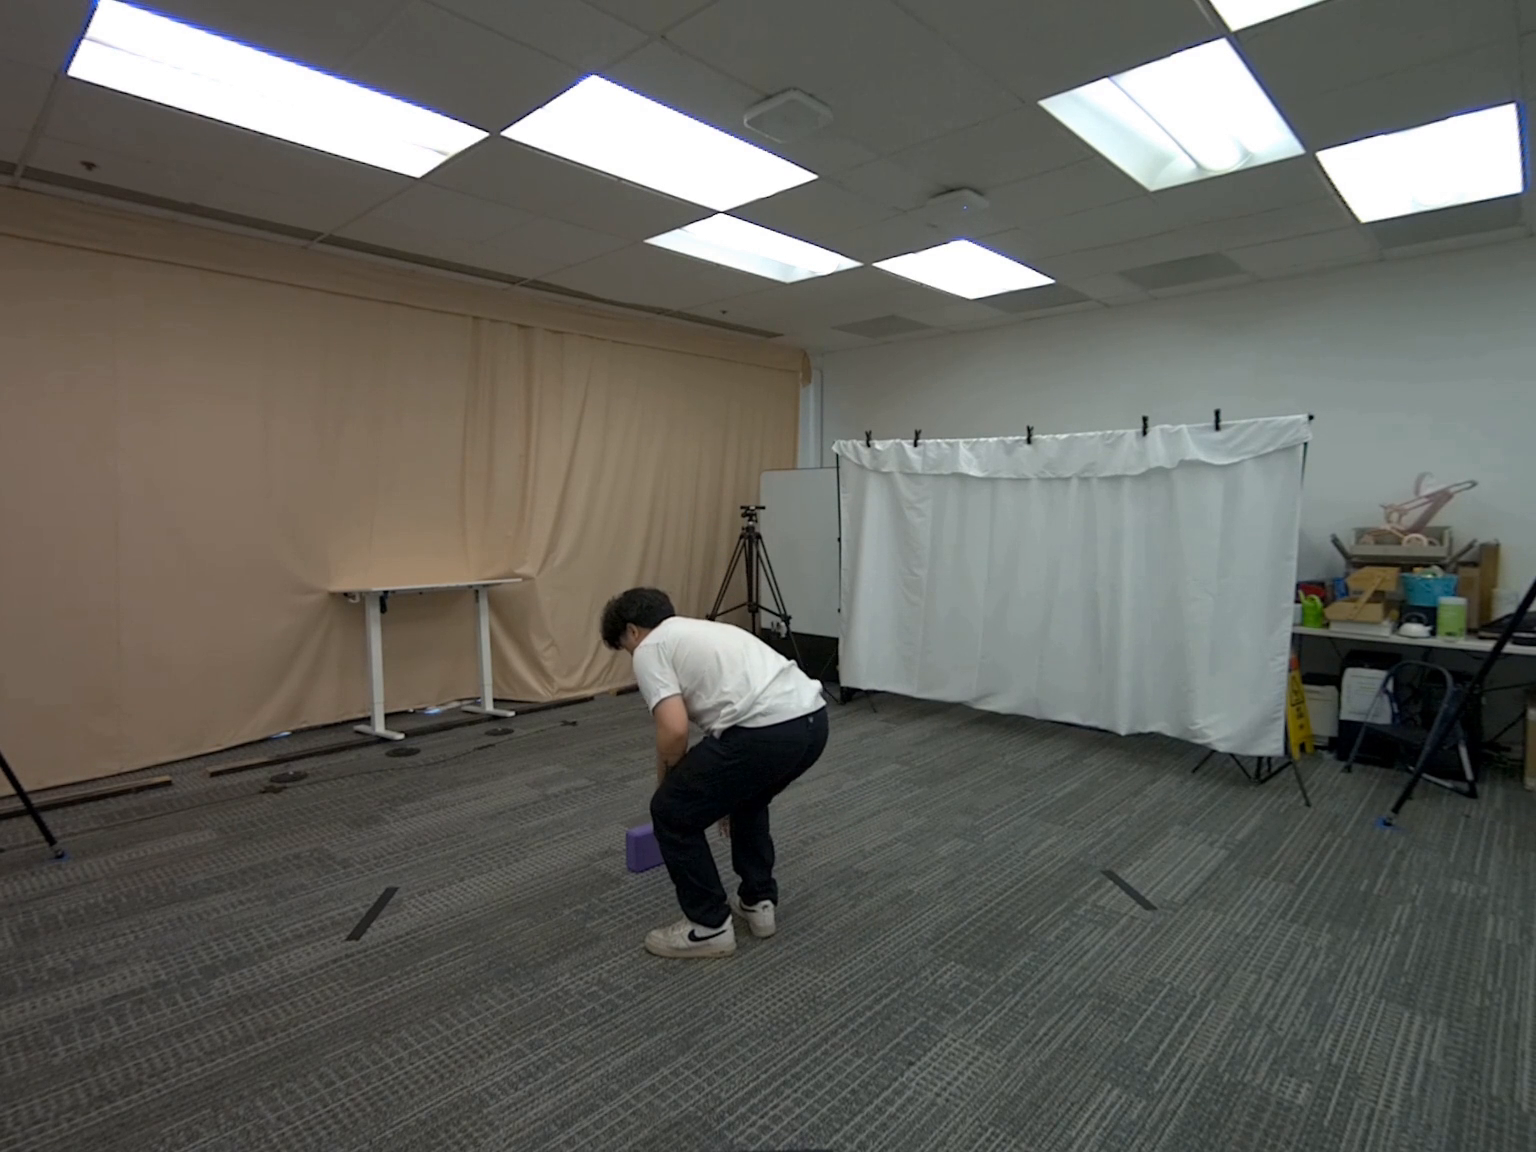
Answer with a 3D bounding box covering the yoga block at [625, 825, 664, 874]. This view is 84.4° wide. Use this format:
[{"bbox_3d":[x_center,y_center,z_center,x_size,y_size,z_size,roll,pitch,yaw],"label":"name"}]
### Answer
[{"bbox_3d":[-0.446,1.046,3.290,0.222,0.148,0.079,-4,5,-42],"label":"yoga block"}]
